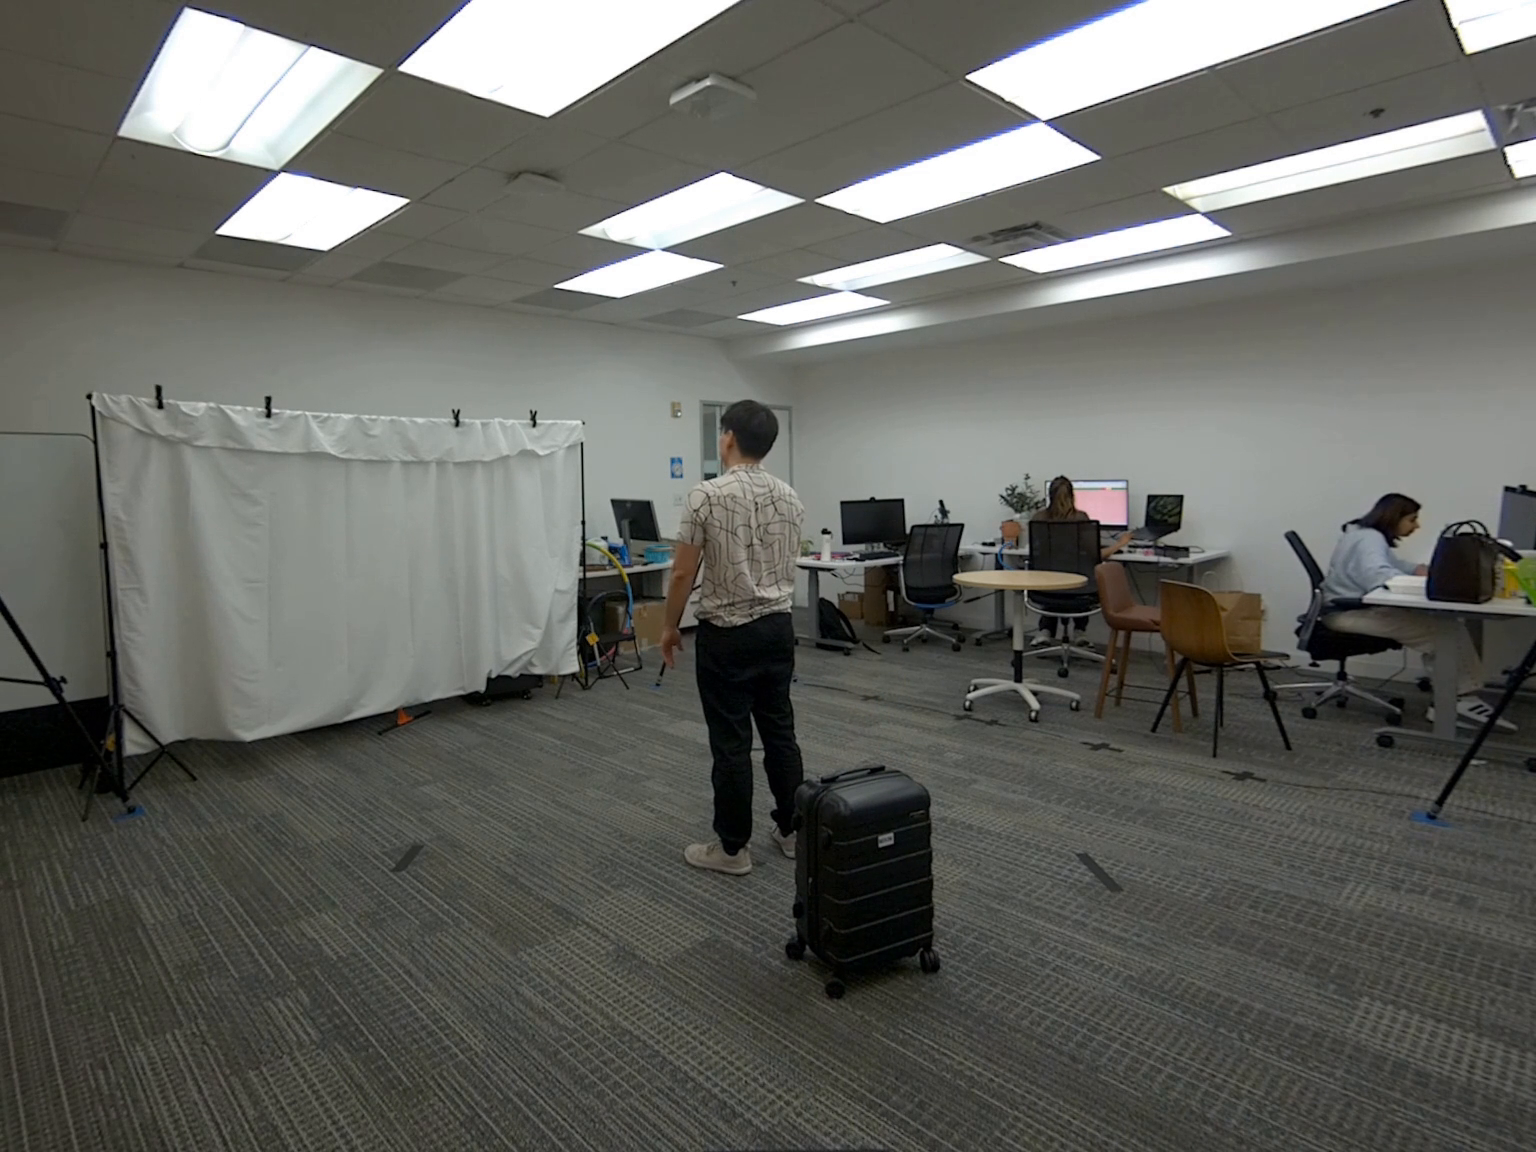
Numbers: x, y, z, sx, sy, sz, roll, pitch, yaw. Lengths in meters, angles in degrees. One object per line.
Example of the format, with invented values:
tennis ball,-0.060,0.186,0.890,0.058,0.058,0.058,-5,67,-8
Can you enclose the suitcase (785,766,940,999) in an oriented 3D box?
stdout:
suitcase,0.287,0.843,2.448,0.367,0.548,0.254,-3,4,-27
